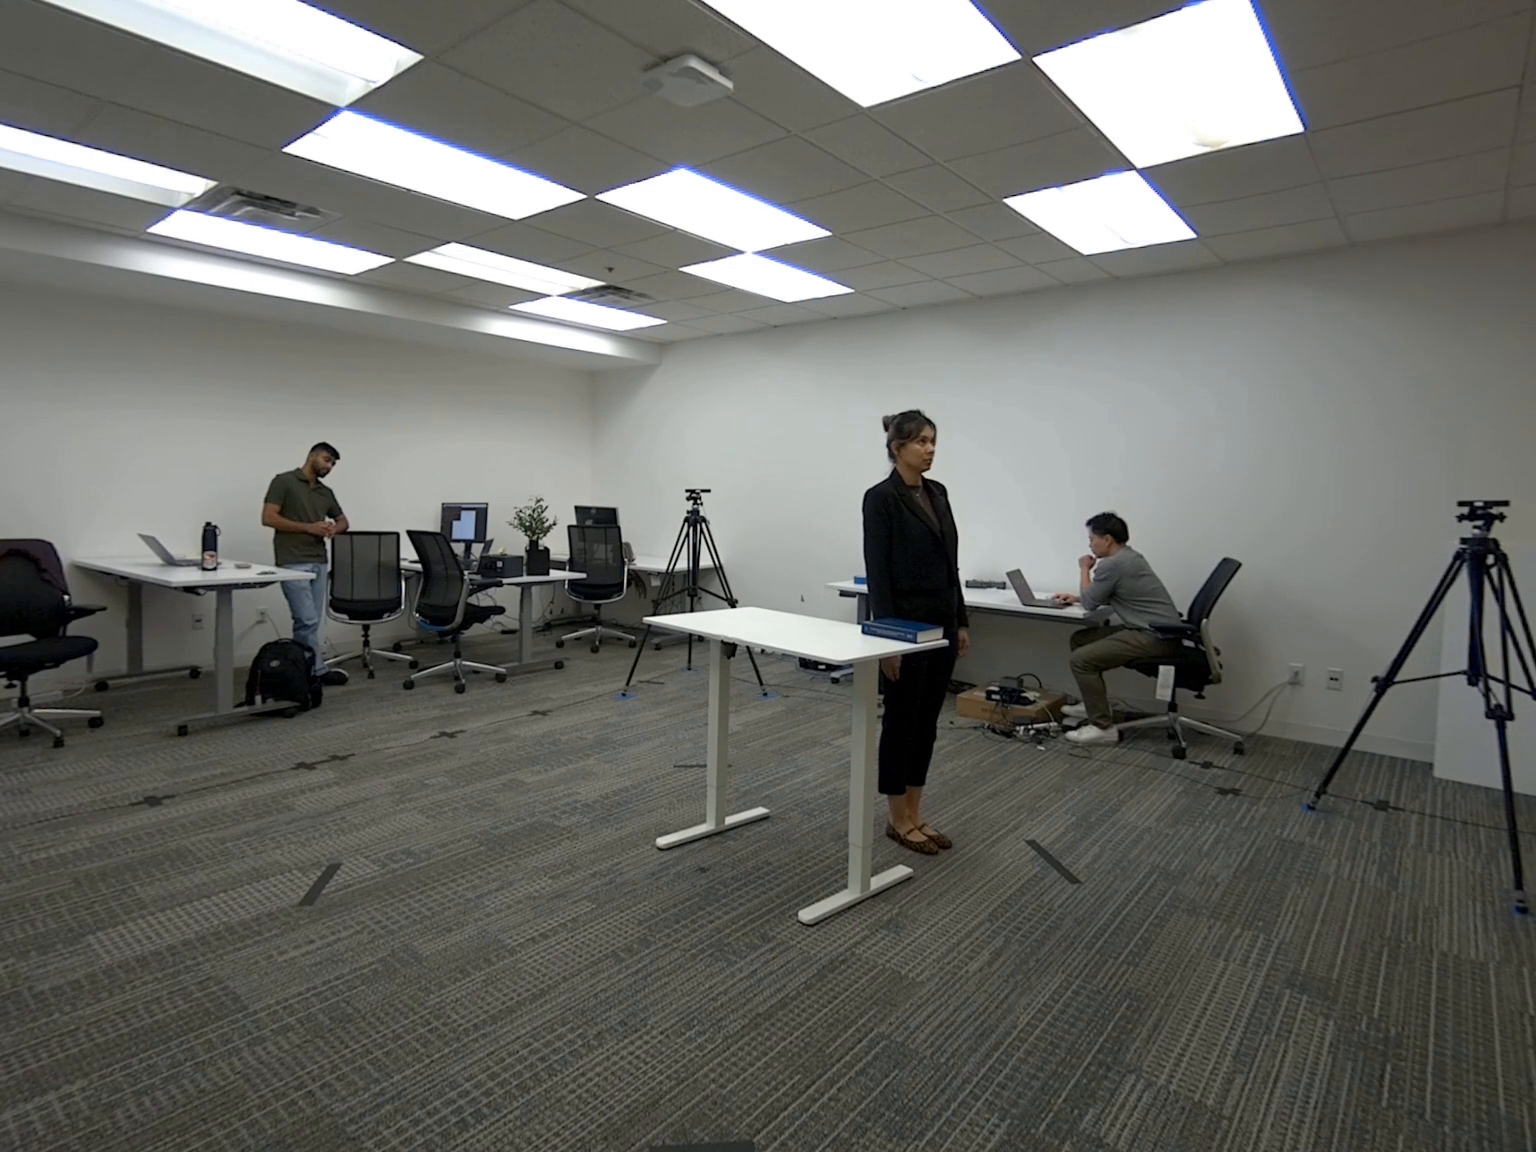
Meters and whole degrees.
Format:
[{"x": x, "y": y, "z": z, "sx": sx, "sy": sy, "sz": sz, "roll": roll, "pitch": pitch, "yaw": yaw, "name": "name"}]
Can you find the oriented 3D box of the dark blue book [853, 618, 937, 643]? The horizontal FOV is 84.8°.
[{"x": 0.455, "y": 0.189, "z": 3.038, "sx": 0.158, "sy": 0.045, "sz": 0.253, "roll": -4, "pitch": 8, "yaw": -40, "name": "dark blue book"}]
